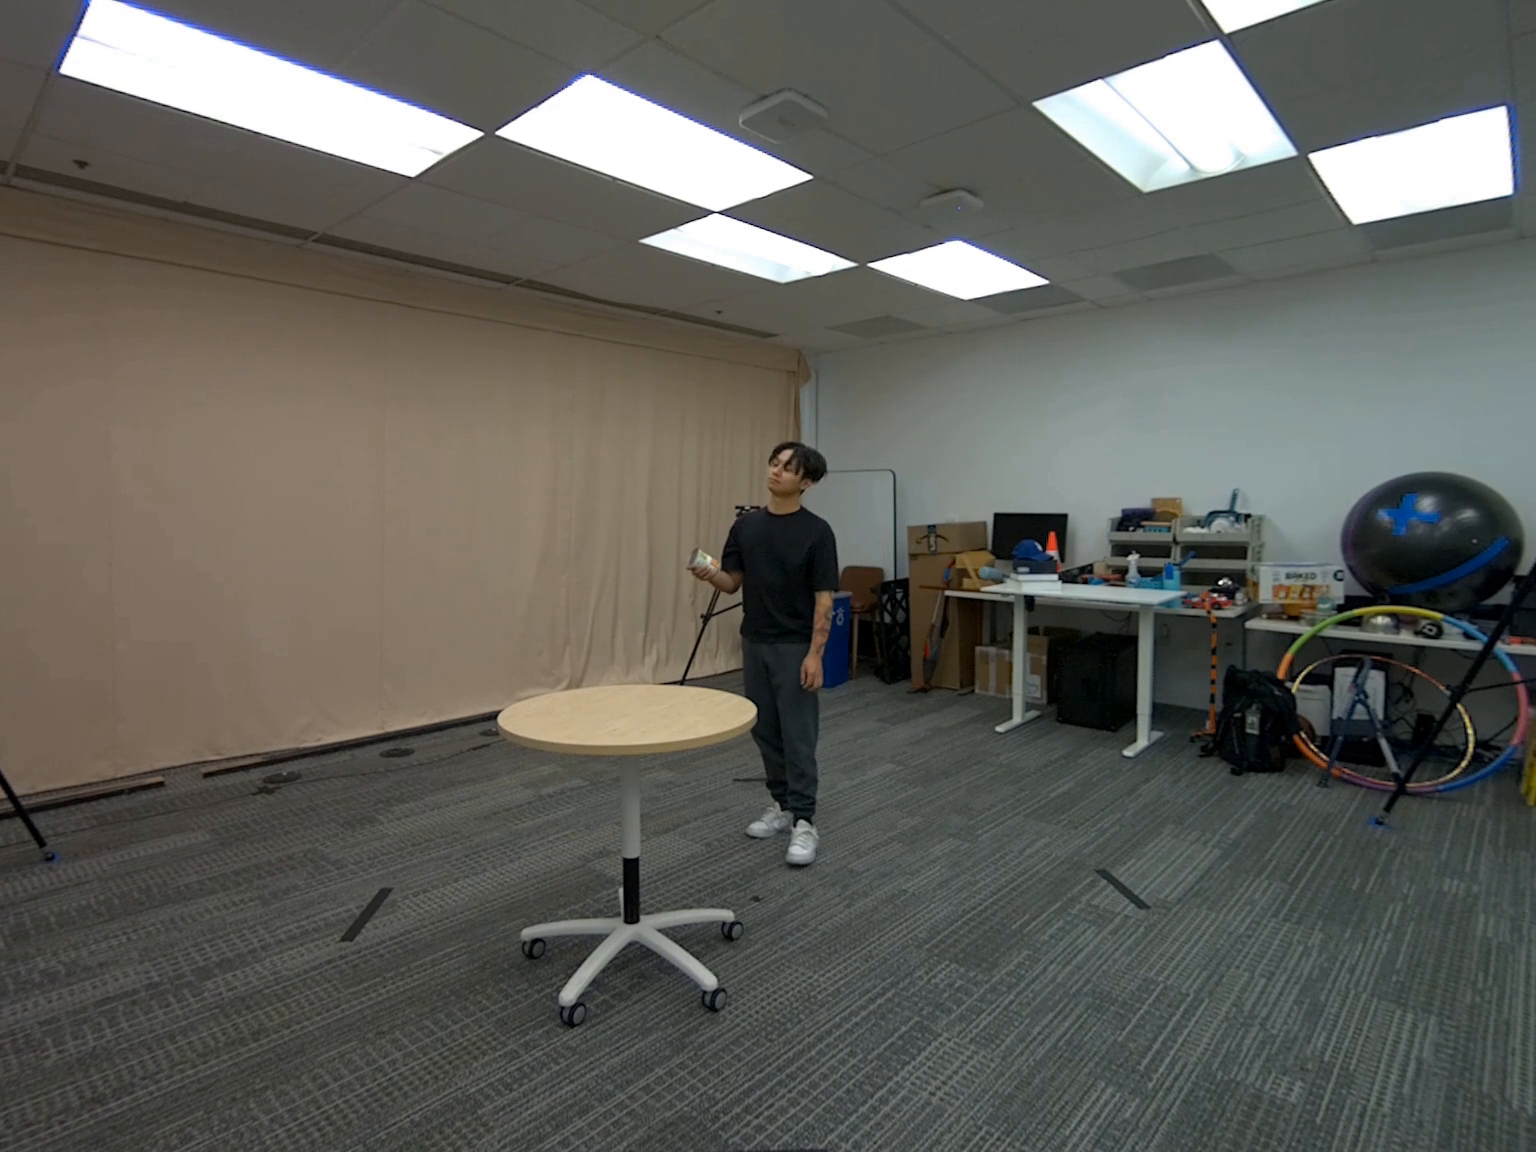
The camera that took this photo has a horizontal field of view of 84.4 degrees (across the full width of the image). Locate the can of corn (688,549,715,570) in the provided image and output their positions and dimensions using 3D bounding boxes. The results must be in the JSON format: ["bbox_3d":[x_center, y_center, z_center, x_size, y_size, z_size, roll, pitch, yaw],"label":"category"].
[{"bbox_3d":[-0.252,-0.053,3.385,0.108,0.074,0.076,36,-13,-24],"label":"can of corn"}]
